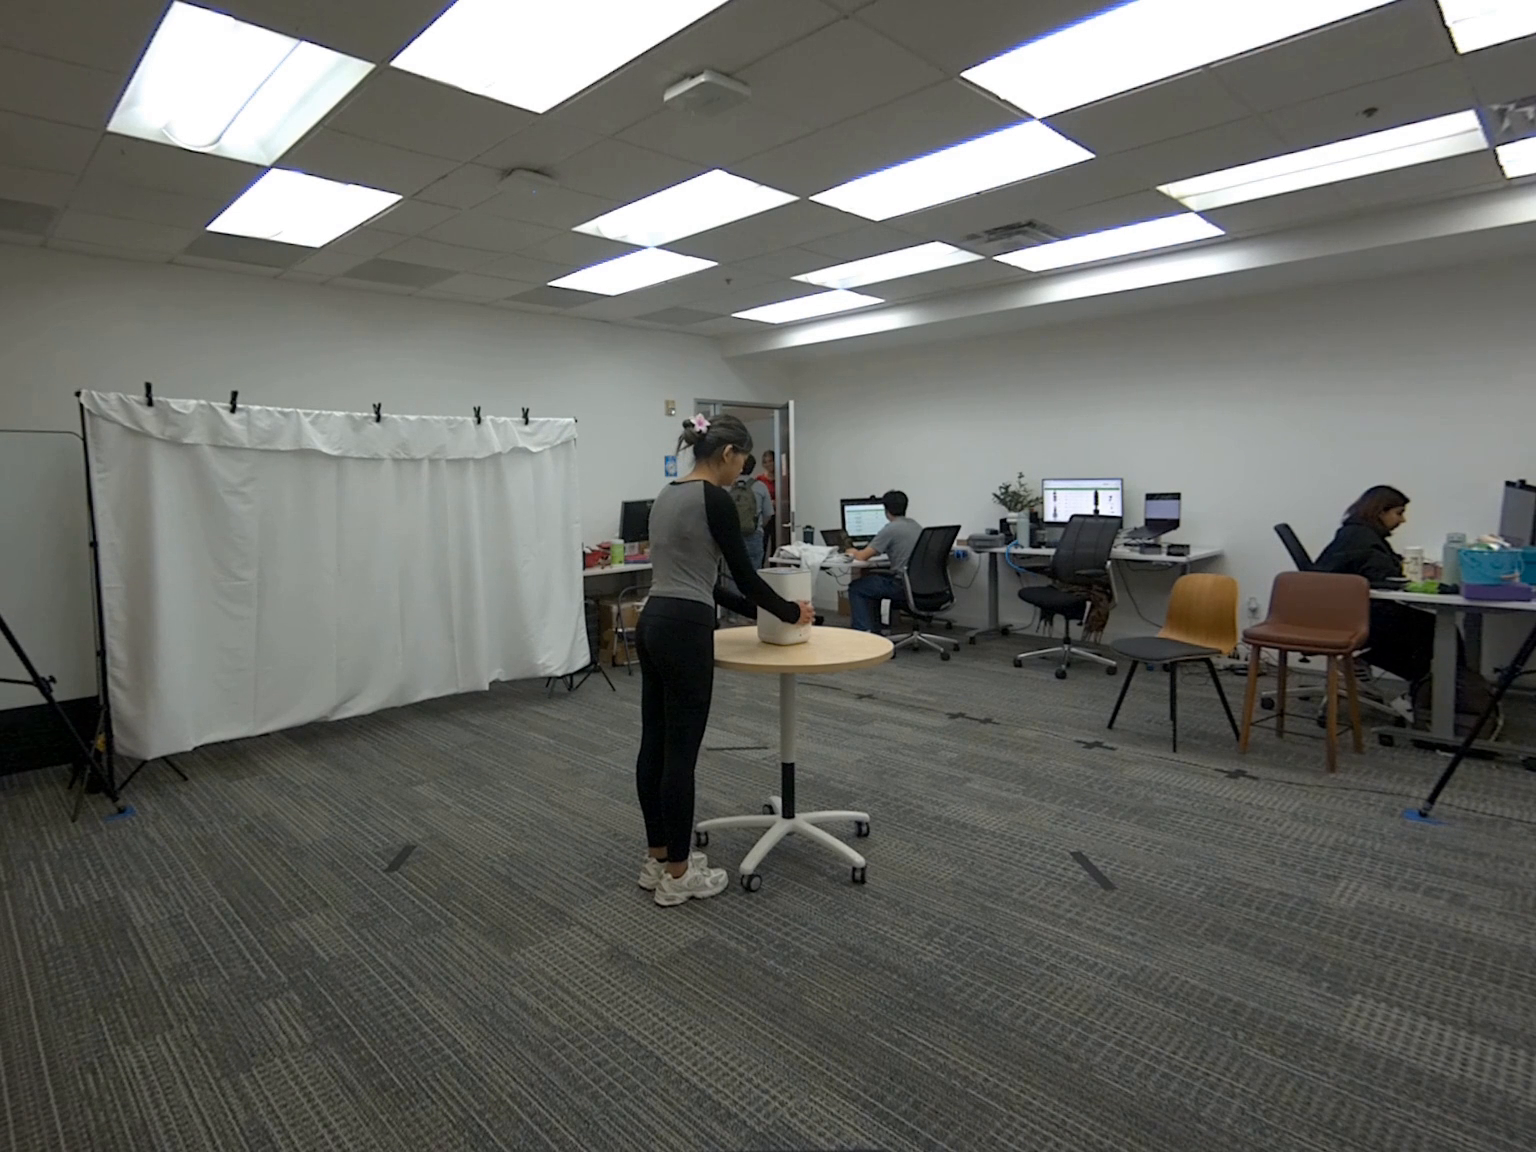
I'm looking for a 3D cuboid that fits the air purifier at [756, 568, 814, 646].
[{"bbox_3d":[0.065,0.112,3.146,0.166,0.264,0.177,-4,5,-42],"label":"air purifier"}]
